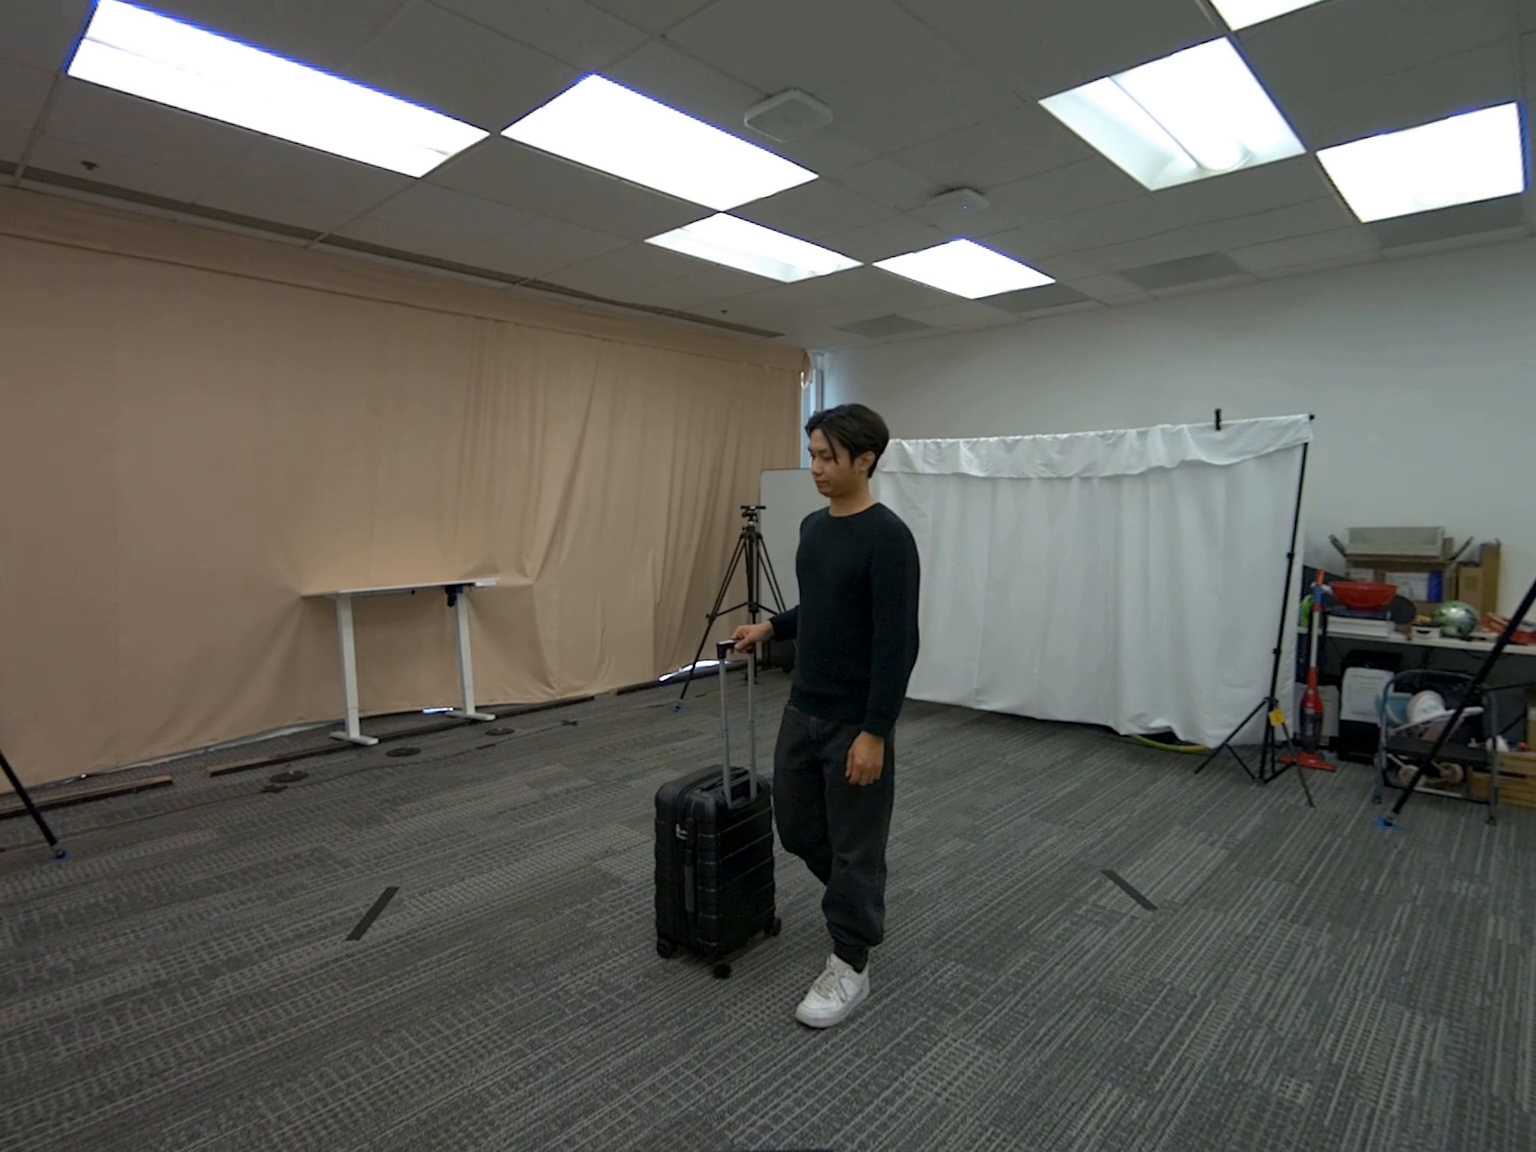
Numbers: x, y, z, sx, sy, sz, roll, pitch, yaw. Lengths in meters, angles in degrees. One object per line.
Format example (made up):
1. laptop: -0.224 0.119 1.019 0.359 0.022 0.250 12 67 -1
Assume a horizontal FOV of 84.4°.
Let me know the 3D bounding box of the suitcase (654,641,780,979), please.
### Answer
1. suitcase: -0.175 0.698 2.652 0.265 0.977 0.373 -1 3 33
